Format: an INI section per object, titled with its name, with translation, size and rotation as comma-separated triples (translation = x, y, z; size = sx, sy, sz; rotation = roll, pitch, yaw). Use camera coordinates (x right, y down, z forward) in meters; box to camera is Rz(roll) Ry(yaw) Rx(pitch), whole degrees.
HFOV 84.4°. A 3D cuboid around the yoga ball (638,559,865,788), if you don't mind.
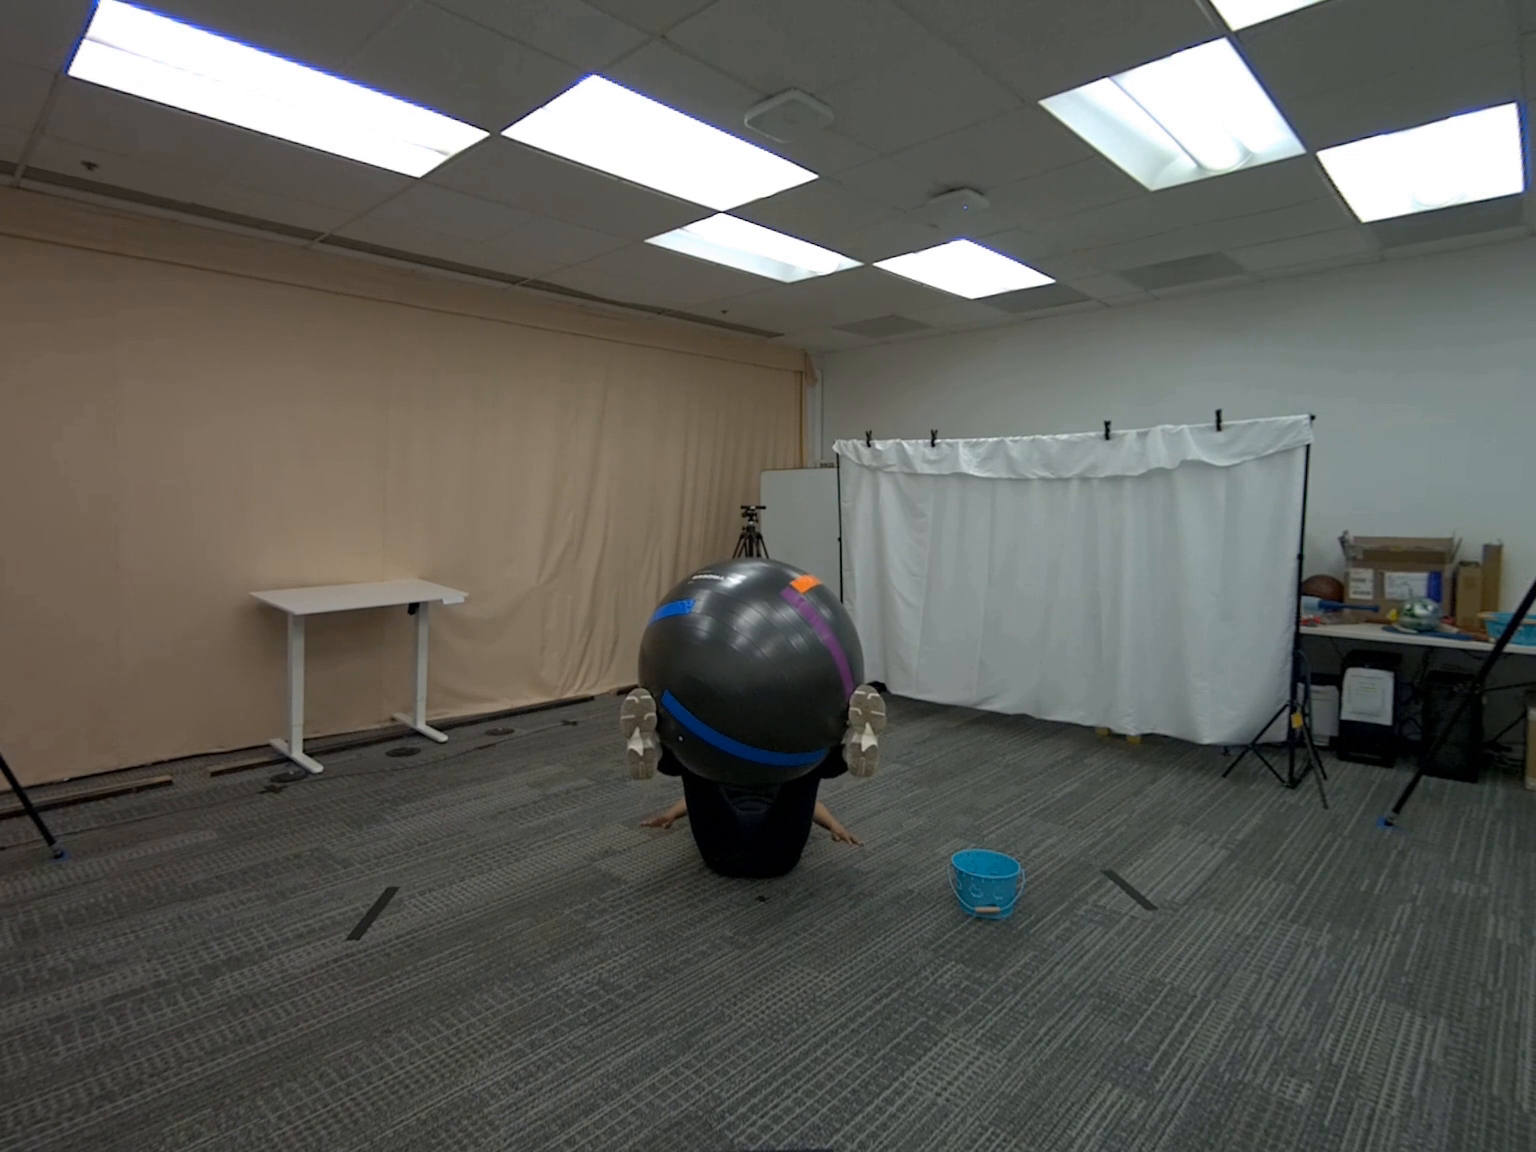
[yoga ball]
translation = -0.064, 0.320, 2.823
size = 0.757, 0.756, 0.760
rotation = 0, 4, -2
